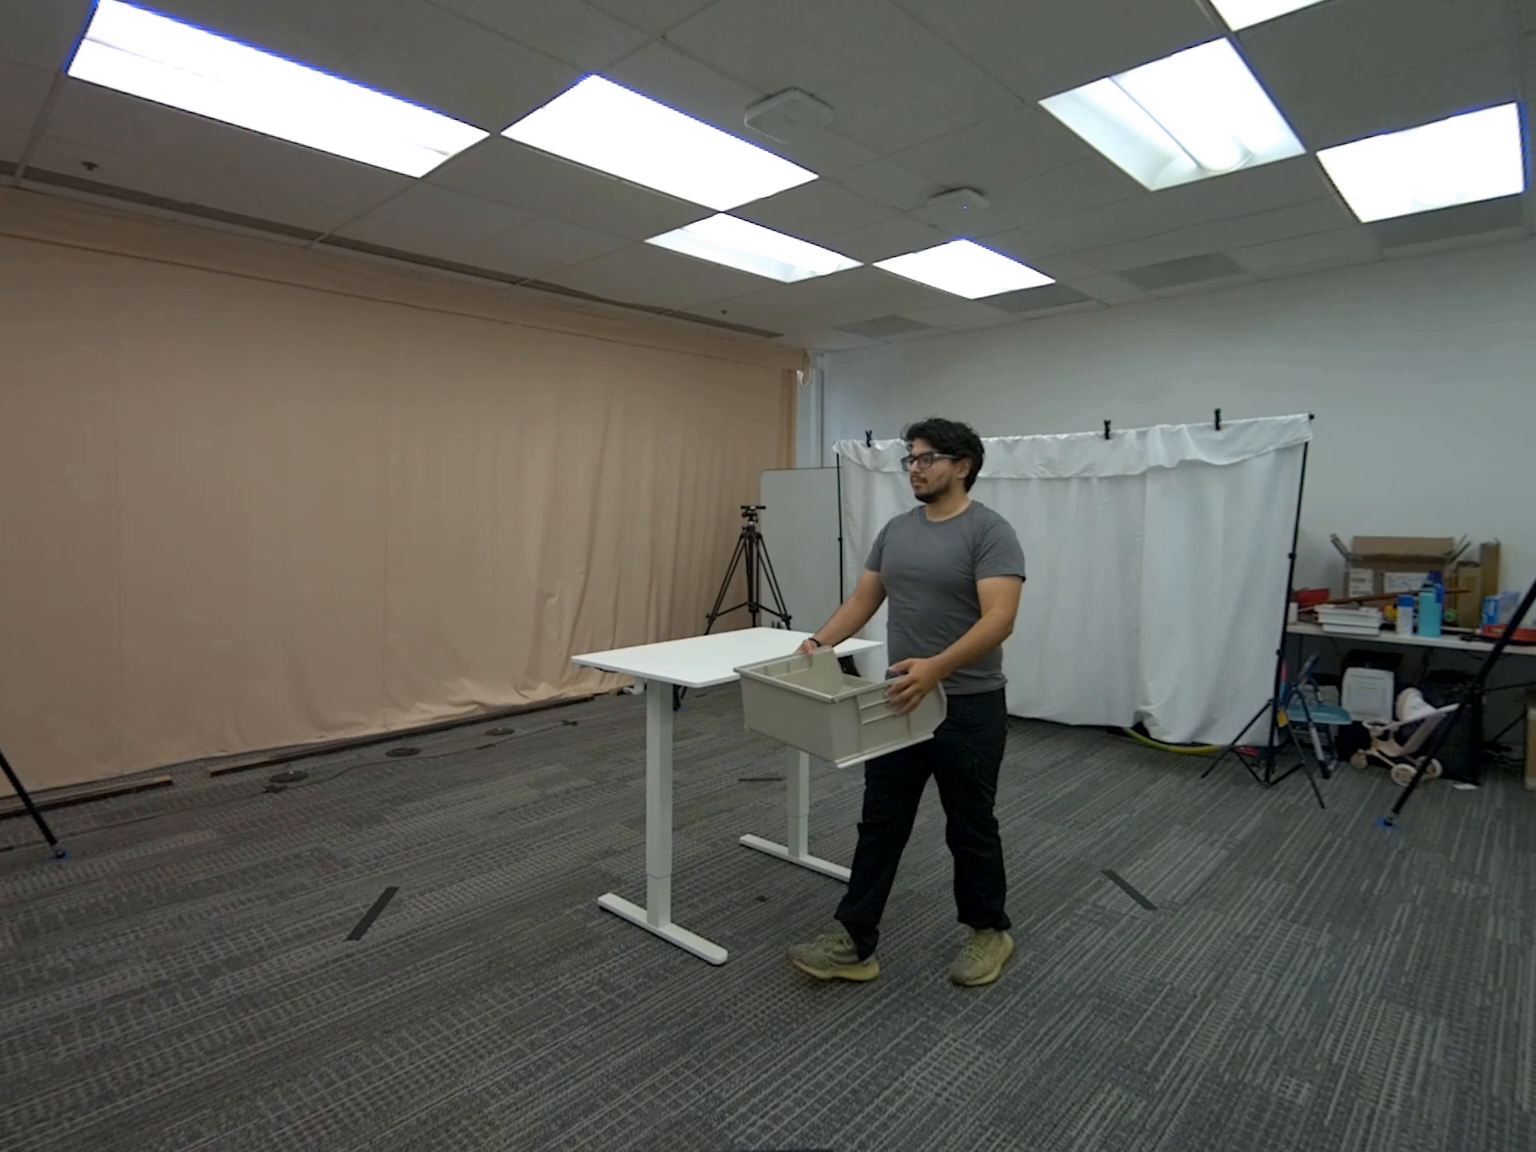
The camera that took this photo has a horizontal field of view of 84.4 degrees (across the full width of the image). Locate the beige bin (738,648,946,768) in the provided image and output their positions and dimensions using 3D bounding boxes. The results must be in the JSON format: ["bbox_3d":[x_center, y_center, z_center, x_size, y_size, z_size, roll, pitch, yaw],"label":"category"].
[{"bbox_3d":[0.185,0.325,2.226,0.368,0.188,0.436,-11,10,-33],"label":"beige bin"}]
